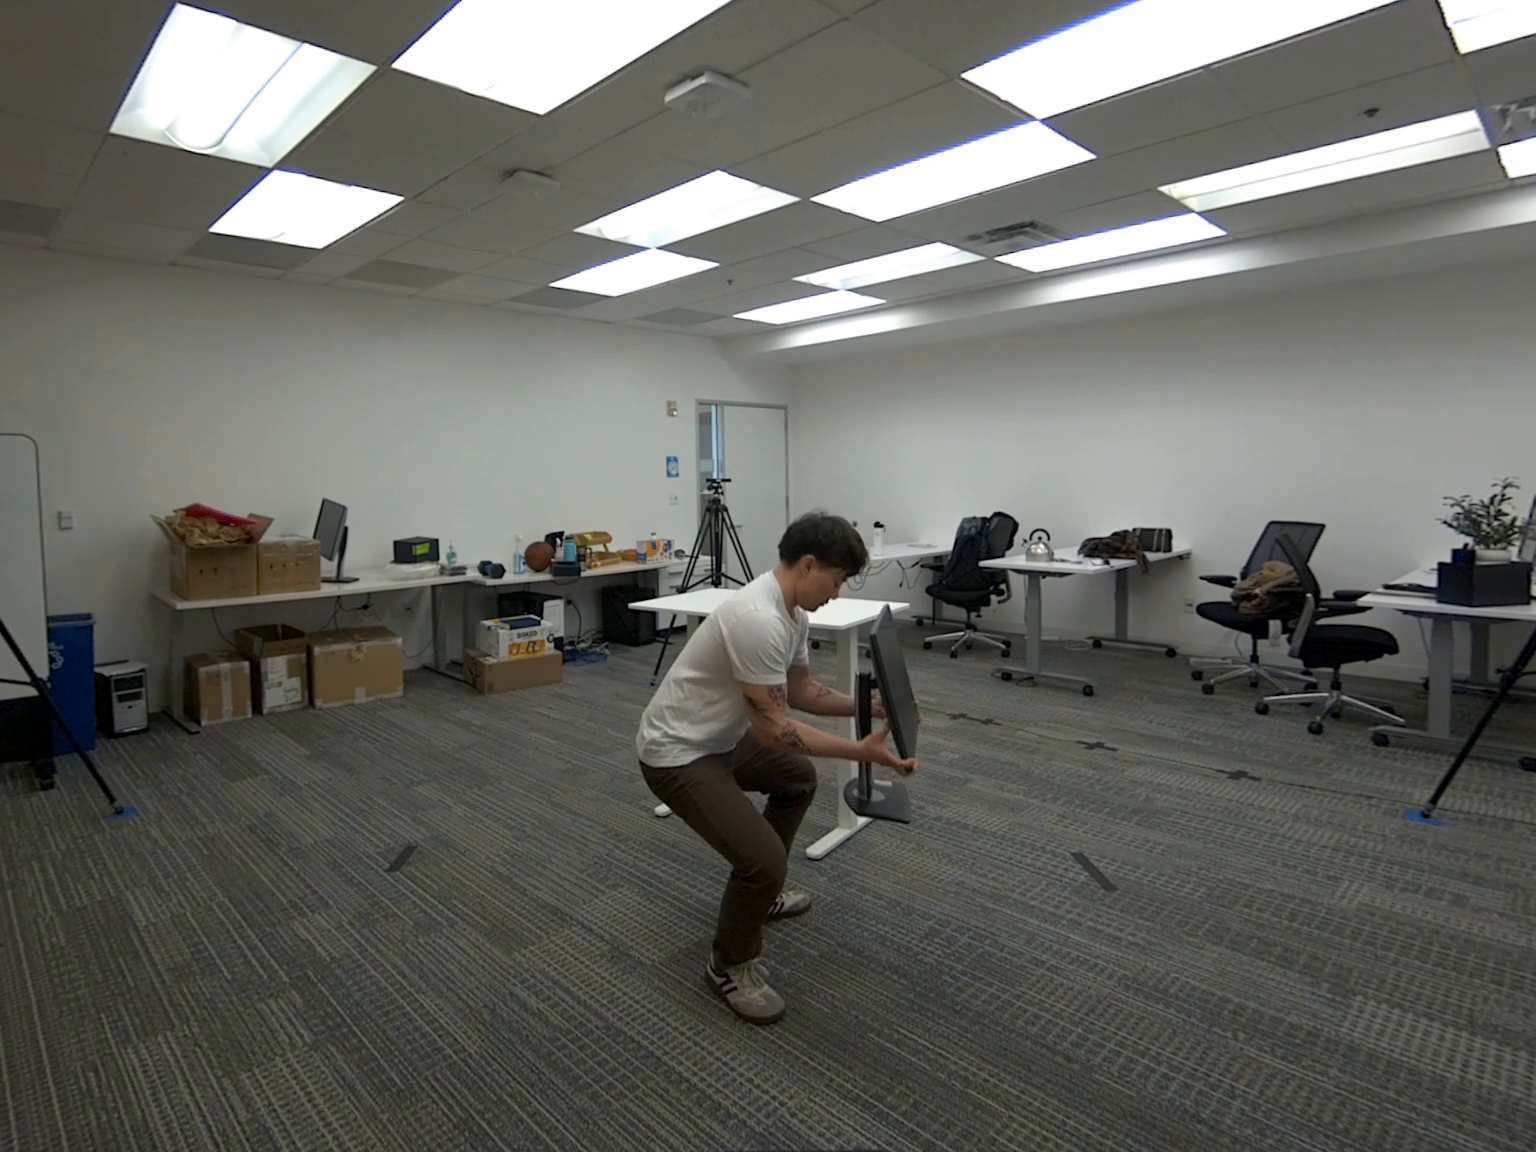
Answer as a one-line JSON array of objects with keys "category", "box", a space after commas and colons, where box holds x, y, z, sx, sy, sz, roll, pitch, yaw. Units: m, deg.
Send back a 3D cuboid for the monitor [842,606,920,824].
[{"category": "monitor", "box": [0.315, 0.370, 2.366, 0.189, 0.520, 0.536, 1, 5, 9]}]
